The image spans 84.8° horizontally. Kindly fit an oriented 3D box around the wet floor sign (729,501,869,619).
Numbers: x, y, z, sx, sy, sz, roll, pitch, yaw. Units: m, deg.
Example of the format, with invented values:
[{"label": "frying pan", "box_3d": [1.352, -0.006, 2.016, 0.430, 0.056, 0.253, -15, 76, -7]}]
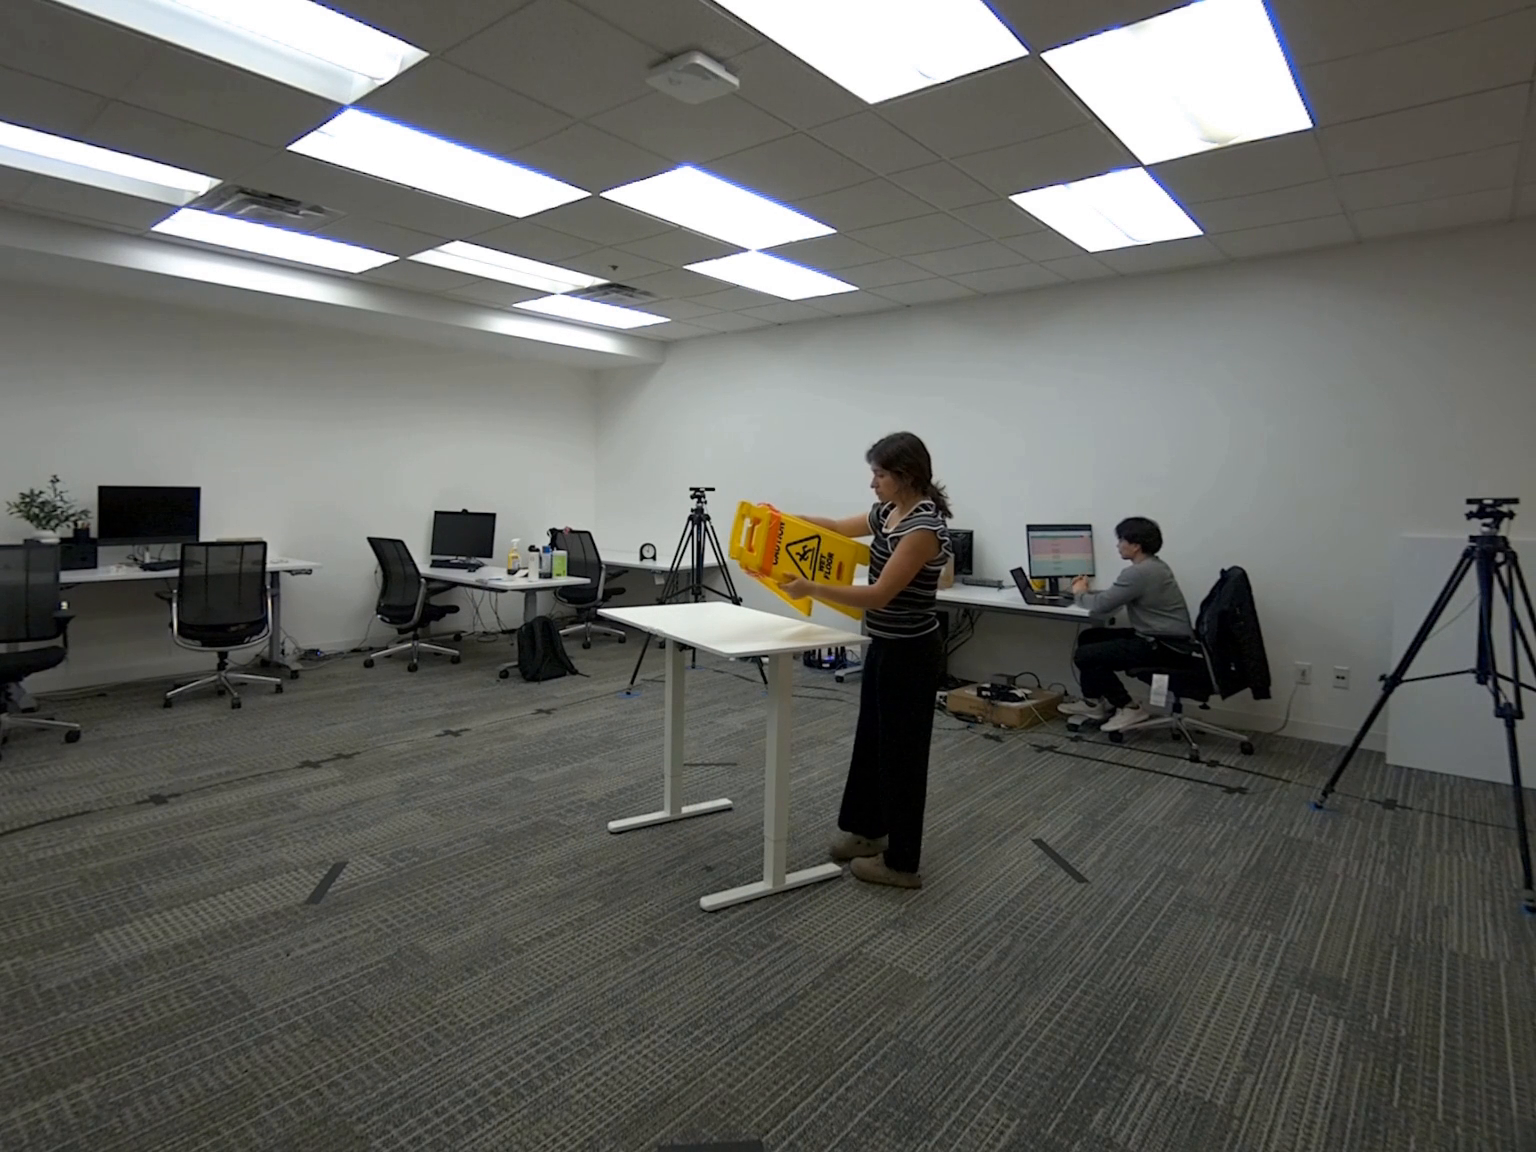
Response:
[{"label": "wet floor sign", "box_3d": [0.073, -0.065, 2.954, 0.299, 0.285, 0.620, 0, -17, 39]}]
